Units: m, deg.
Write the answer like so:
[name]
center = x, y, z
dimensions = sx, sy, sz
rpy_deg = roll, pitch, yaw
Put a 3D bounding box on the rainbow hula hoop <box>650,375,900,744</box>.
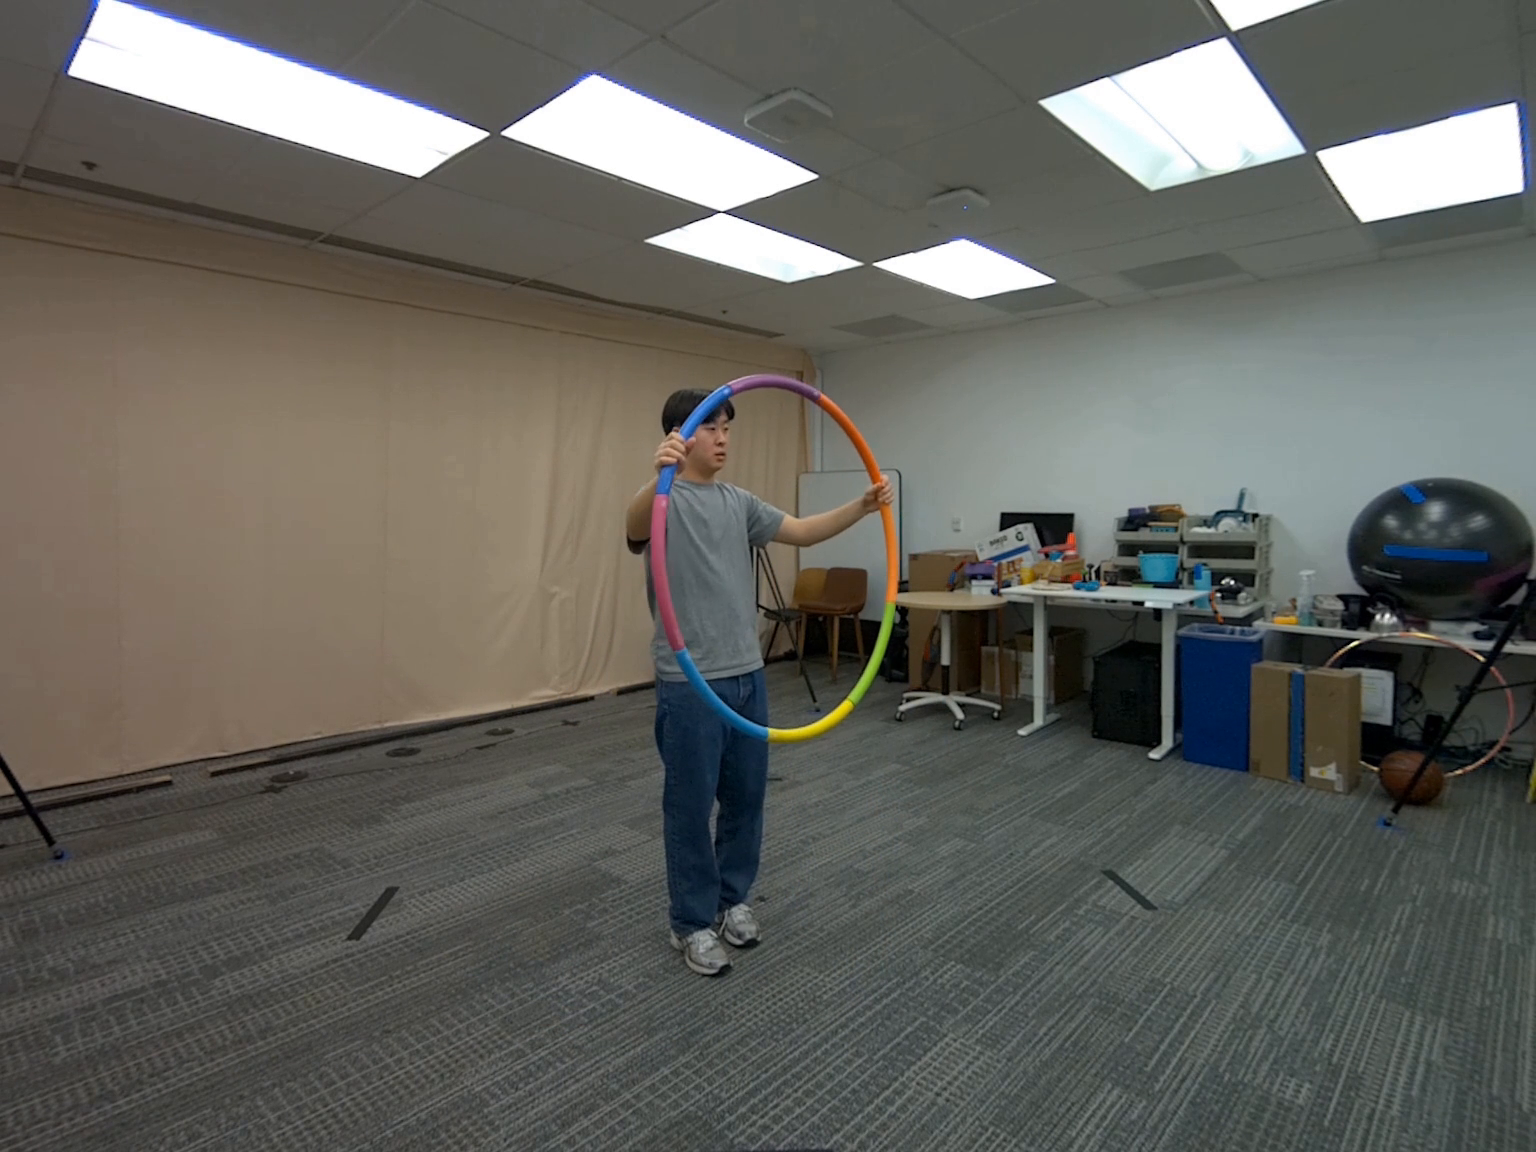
[rainbow hula hoop]
center = 0.077, -0.053, 2.295
dimensions = 0.949, 0.980, 0.036
rpy_deg = -4, -2, -45
